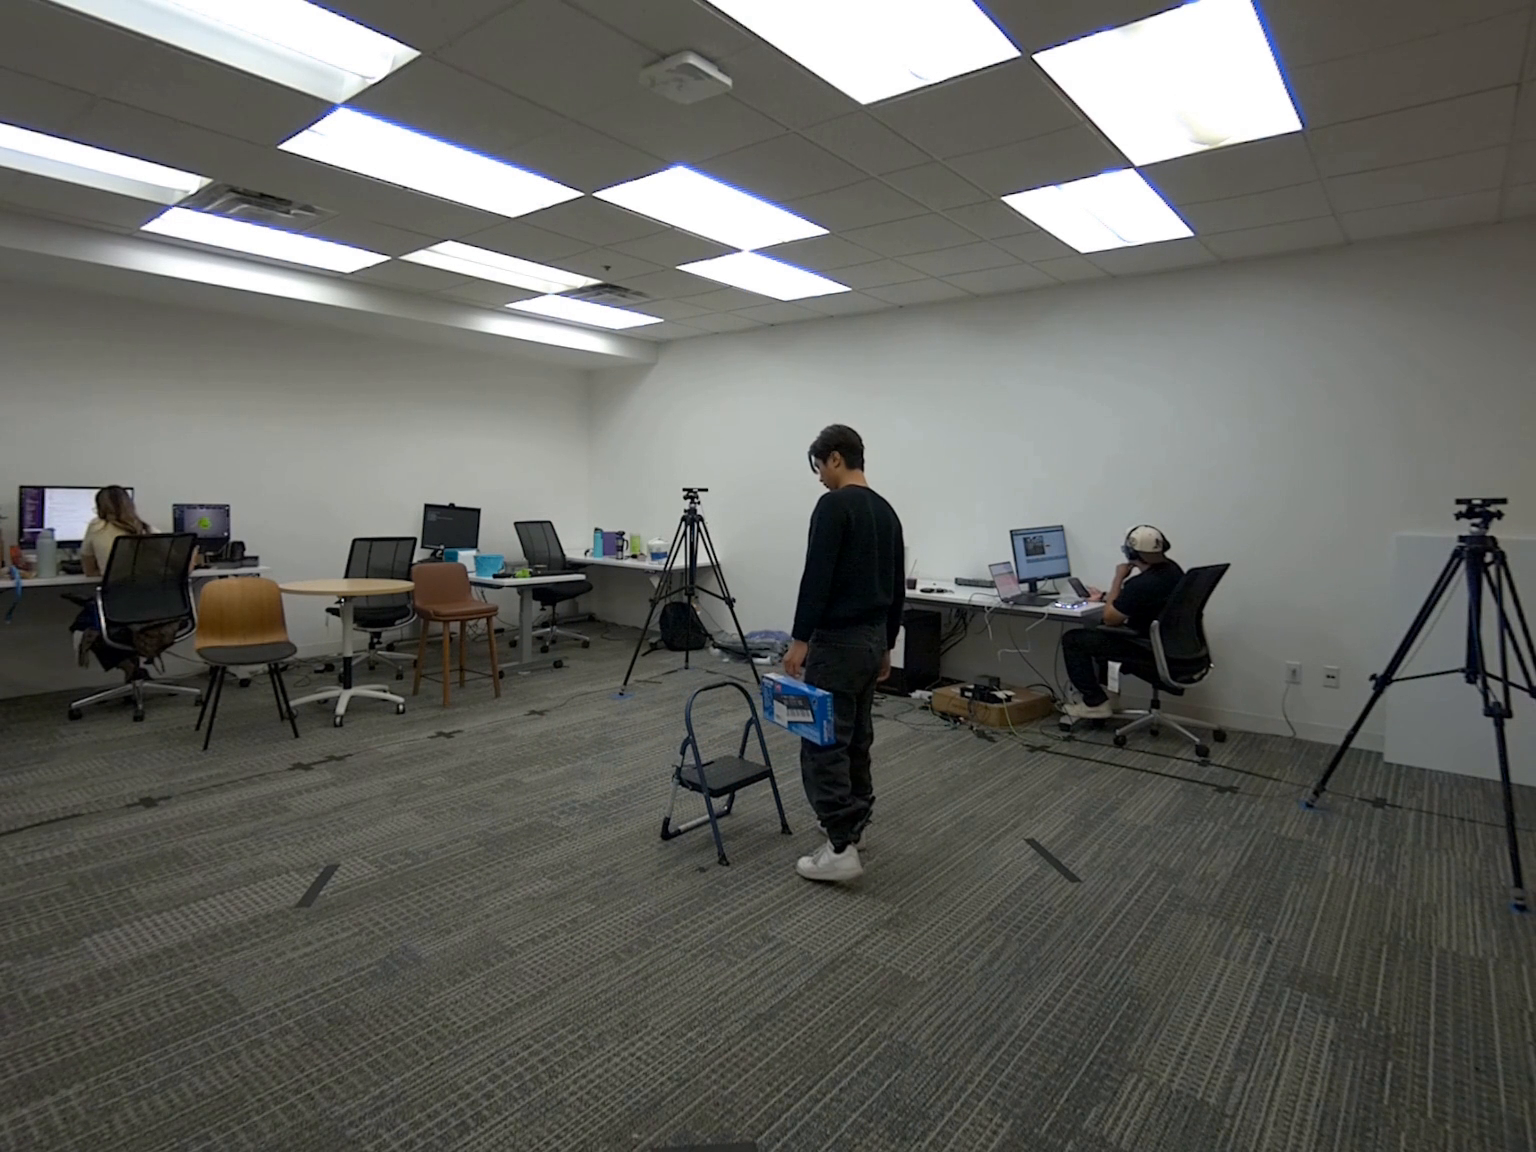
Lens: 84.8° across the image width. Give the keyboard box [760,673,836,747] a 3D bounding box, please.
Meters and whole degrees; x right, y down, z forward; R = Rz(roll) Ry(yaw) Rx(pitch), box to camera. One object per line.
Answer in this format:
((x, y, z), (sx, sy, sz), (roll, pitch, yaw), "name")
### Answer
((0.087, 0.473, 3.093), (0.058, 0.175, 0.448), (-4, 5, -25), "keyboard box")
